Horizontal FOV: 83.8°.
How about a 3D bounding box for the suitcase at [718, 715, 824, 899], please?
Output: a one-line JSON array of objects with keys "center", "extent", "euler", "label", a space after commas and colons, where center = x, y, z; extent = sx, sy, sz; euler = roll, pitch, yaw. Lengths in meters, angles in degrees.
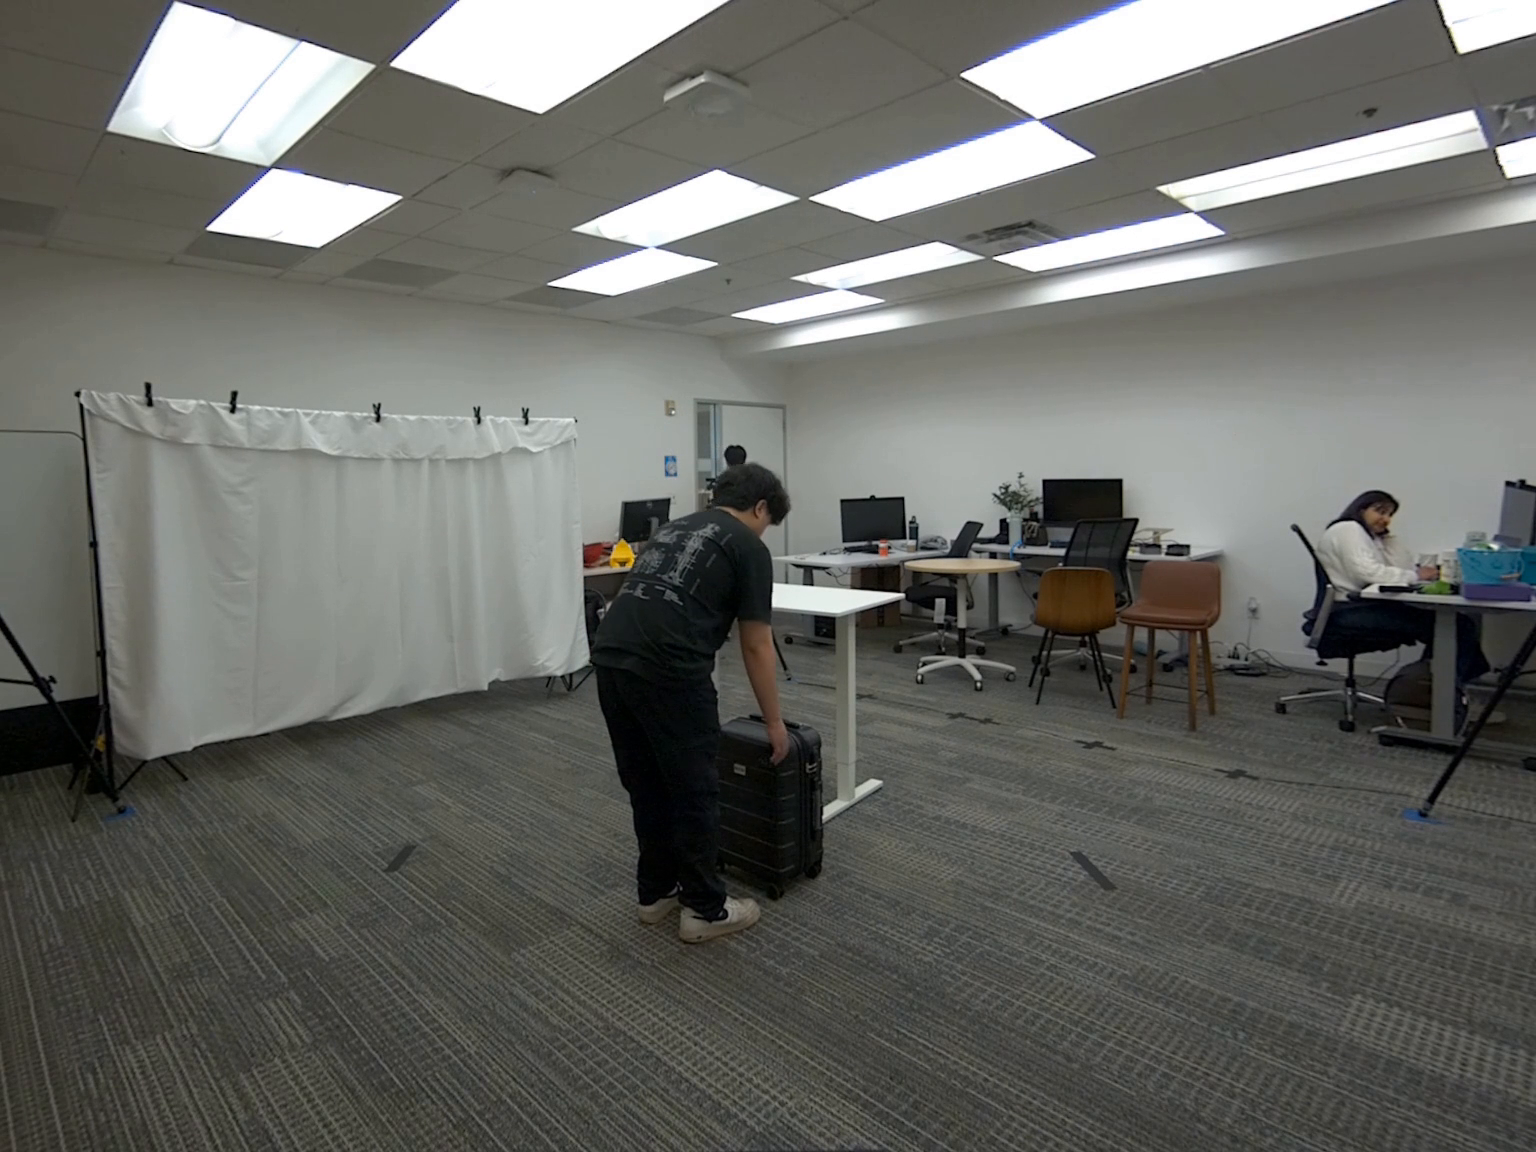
[{"center": [-0.001, 0.781, 2.992], "extent": [0.387, 0.547, 0.242], "euler": [3, 6, 43], "label": "suitcase"}]
